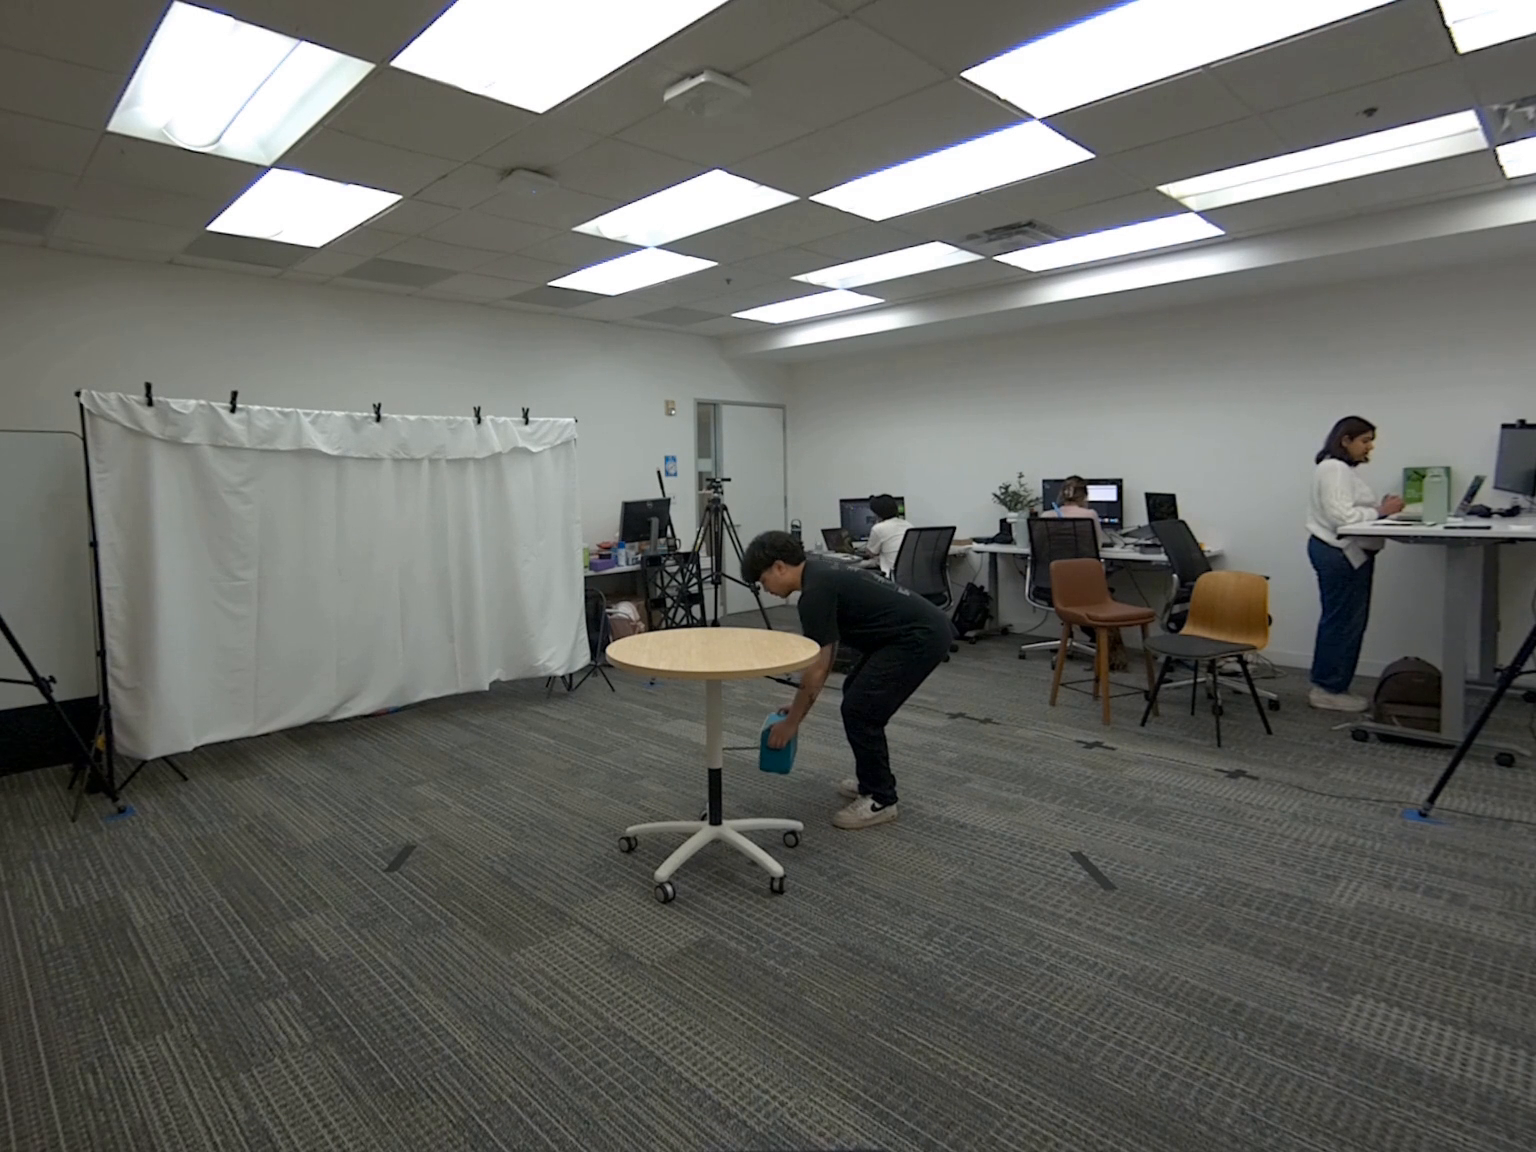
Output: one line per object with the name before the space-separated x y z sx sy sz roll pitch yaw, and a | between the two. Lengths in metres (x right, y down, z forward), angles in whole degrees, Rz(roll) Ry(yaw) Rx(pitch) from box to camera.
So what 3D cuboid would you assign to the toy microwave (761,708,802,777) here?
toy microwave | 0.059 0.694 3.604 0.153 0.183 0.286 3 7 4
